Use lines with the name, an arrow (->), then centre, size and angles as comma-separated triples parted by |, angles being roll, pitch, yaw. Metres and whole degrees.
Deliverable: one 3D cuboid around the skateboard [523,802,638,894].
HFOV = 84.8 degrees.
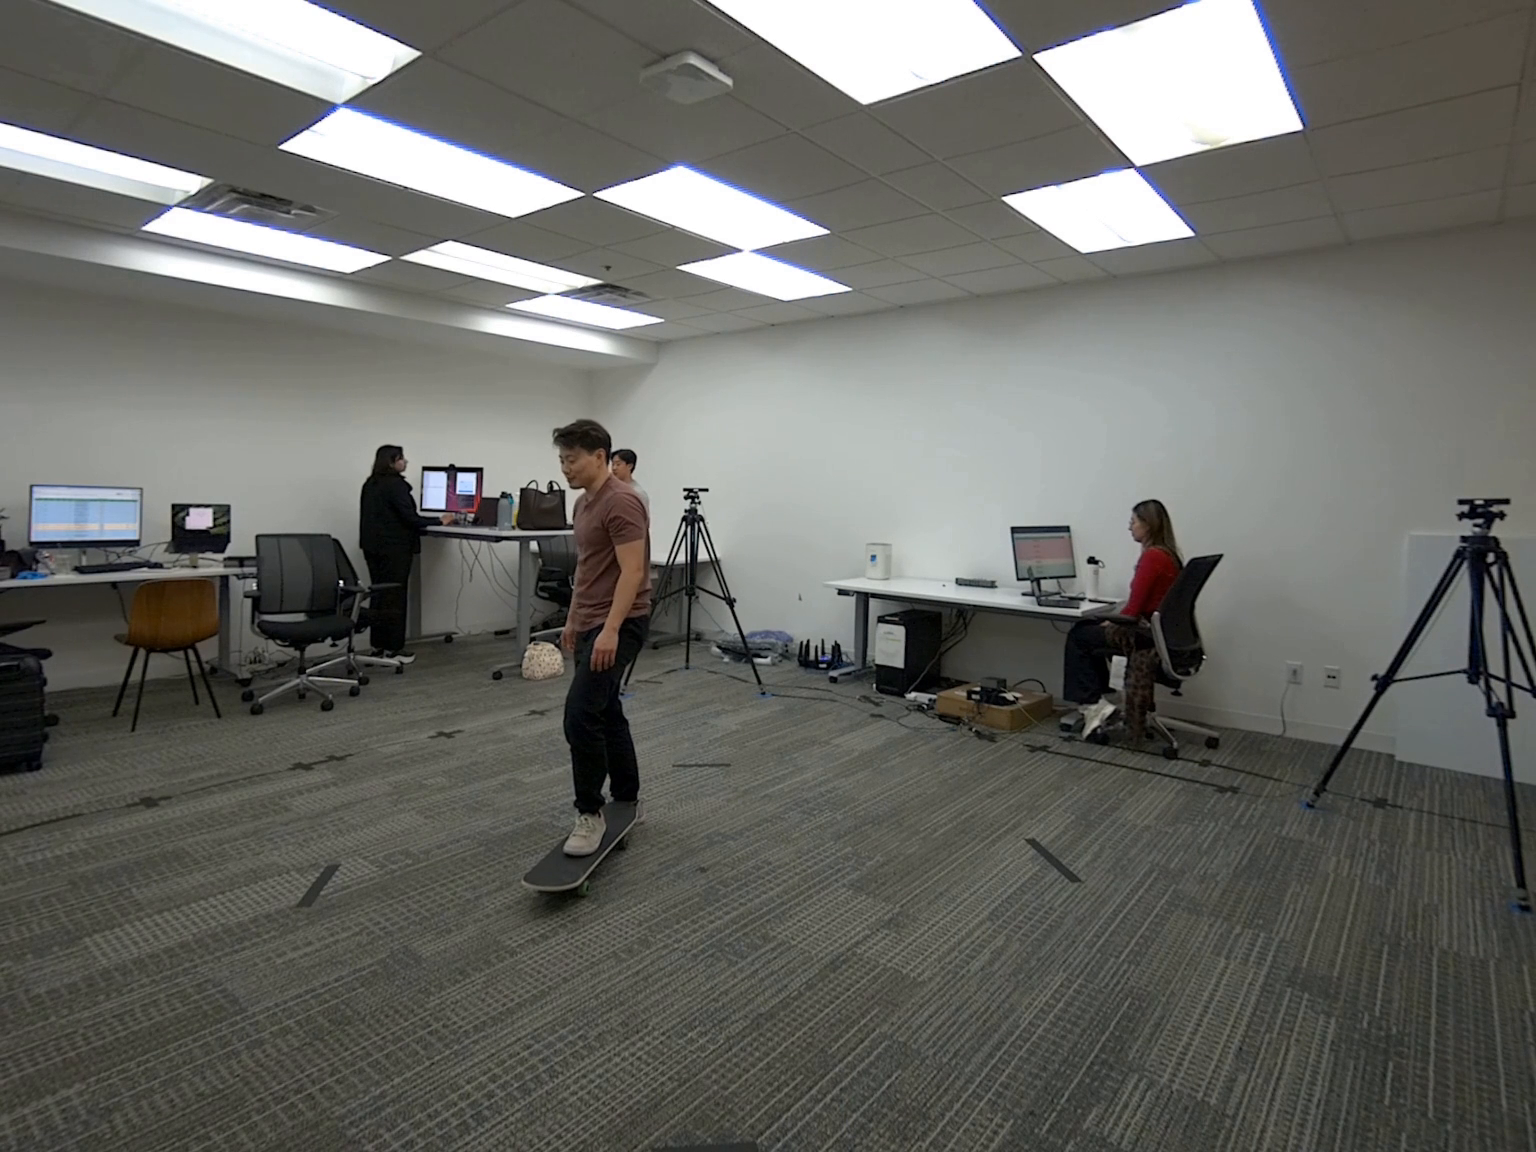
skateboard -> -0.685, 1.010, 3.099 | 0.196, 0.110, 0.778 | 2, 5, 10
